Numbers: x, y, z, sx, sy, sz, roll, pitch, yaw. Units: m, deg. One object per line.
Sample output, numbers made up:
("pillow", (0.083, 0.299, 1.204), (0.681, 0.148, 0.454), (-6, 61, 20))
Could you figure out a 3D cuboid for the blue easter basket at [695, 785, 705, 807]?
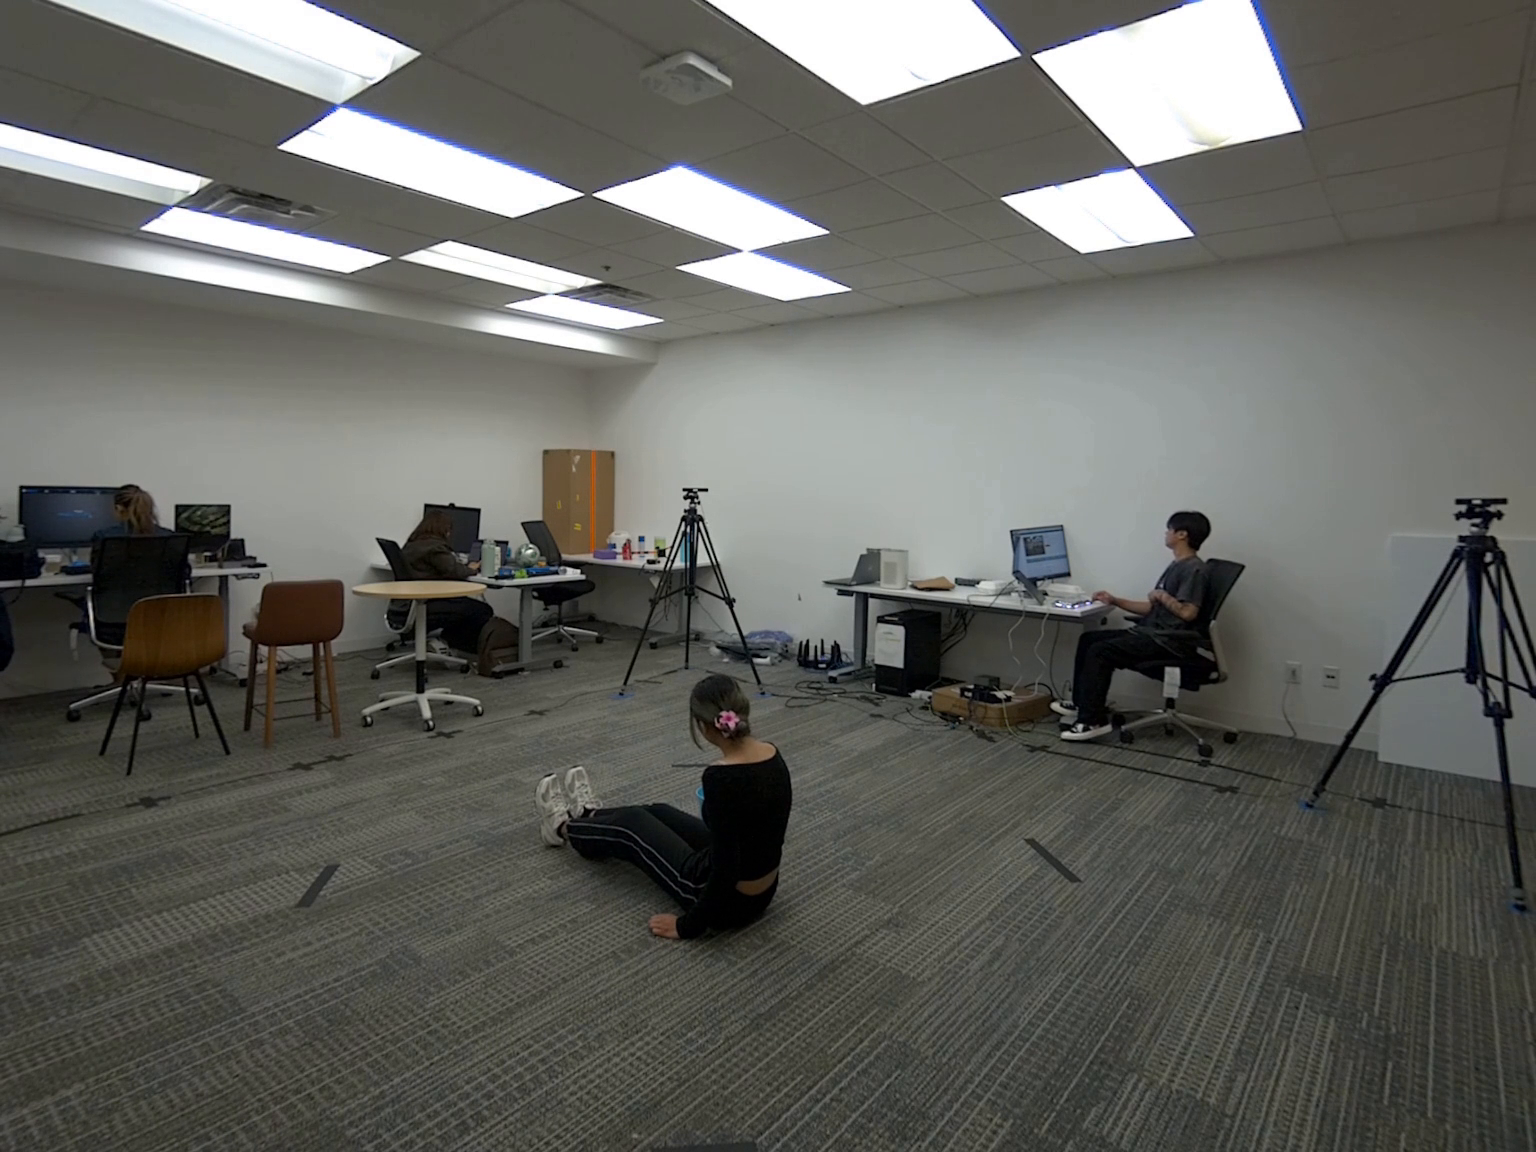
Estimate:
("blue easter basket", (-0.180, 0.951, 3.476), (0.243, 0.155, 0.245), (1, 5, -2))
